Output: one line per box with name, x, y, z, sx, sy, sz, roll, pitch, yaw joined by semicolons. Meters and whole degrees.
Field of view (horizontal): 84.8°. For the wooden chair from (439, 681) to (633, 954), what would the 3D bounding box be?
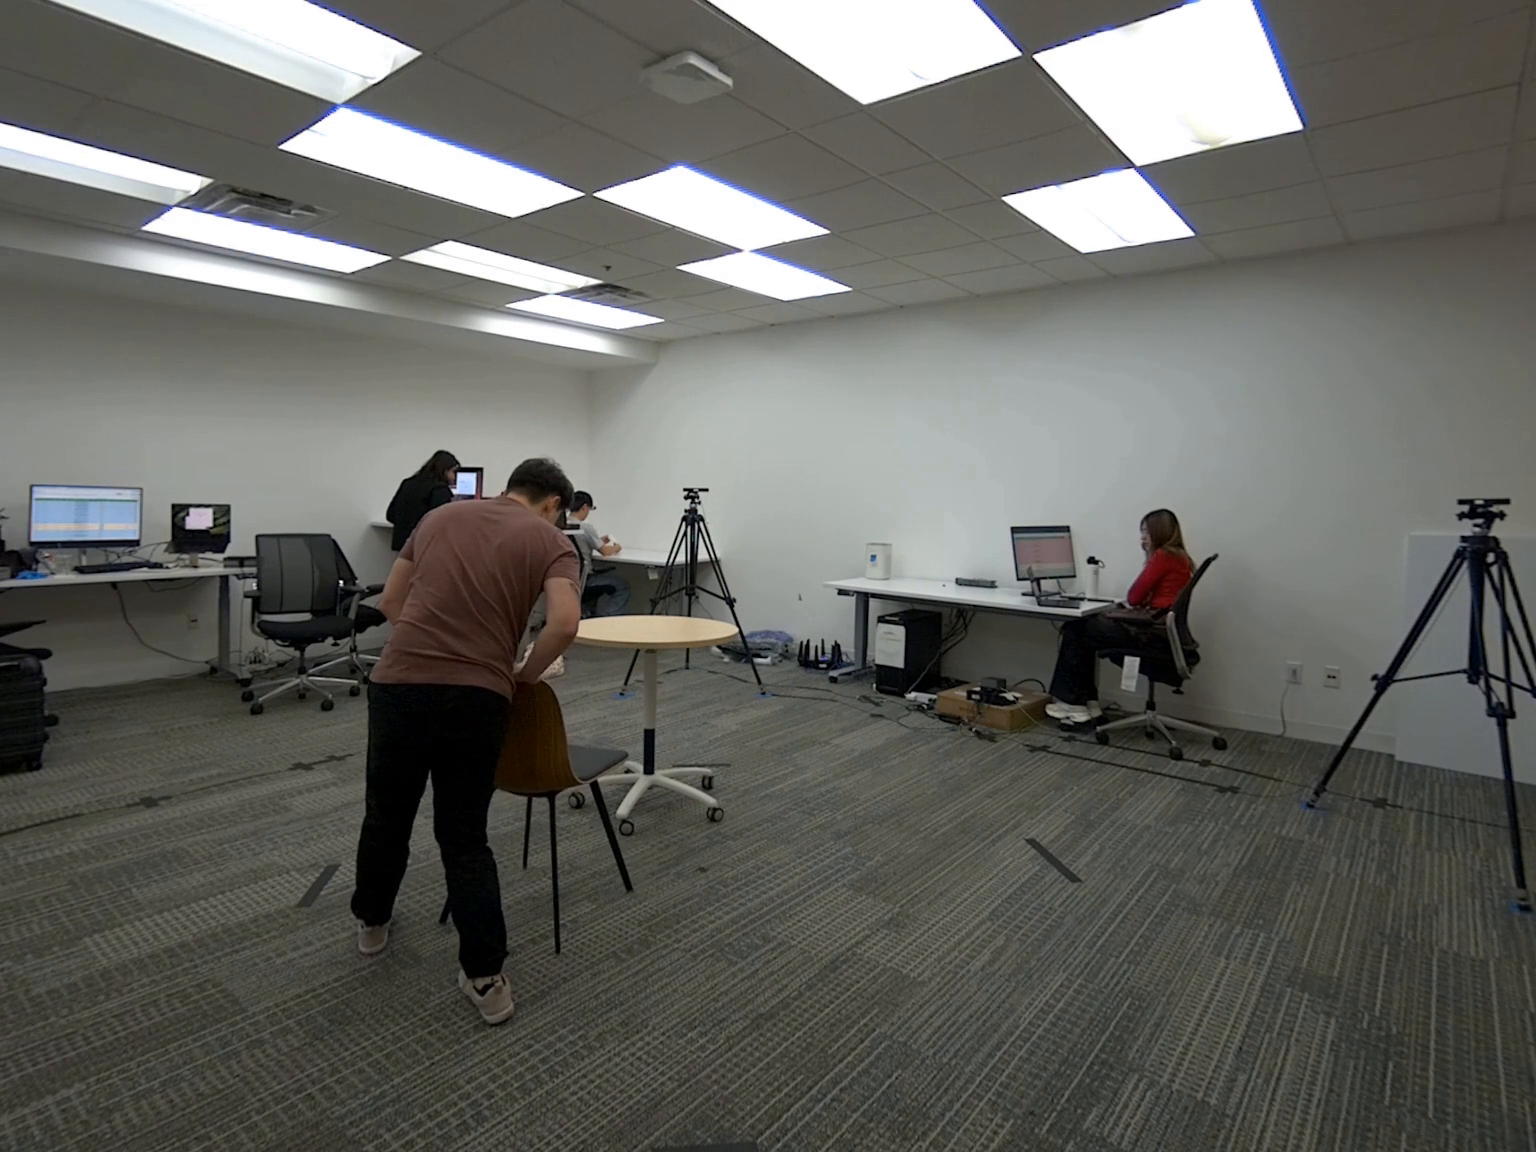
wooden chair;-0.755;0.662;2.797;0.489;0.871;0.515;2;8;22
